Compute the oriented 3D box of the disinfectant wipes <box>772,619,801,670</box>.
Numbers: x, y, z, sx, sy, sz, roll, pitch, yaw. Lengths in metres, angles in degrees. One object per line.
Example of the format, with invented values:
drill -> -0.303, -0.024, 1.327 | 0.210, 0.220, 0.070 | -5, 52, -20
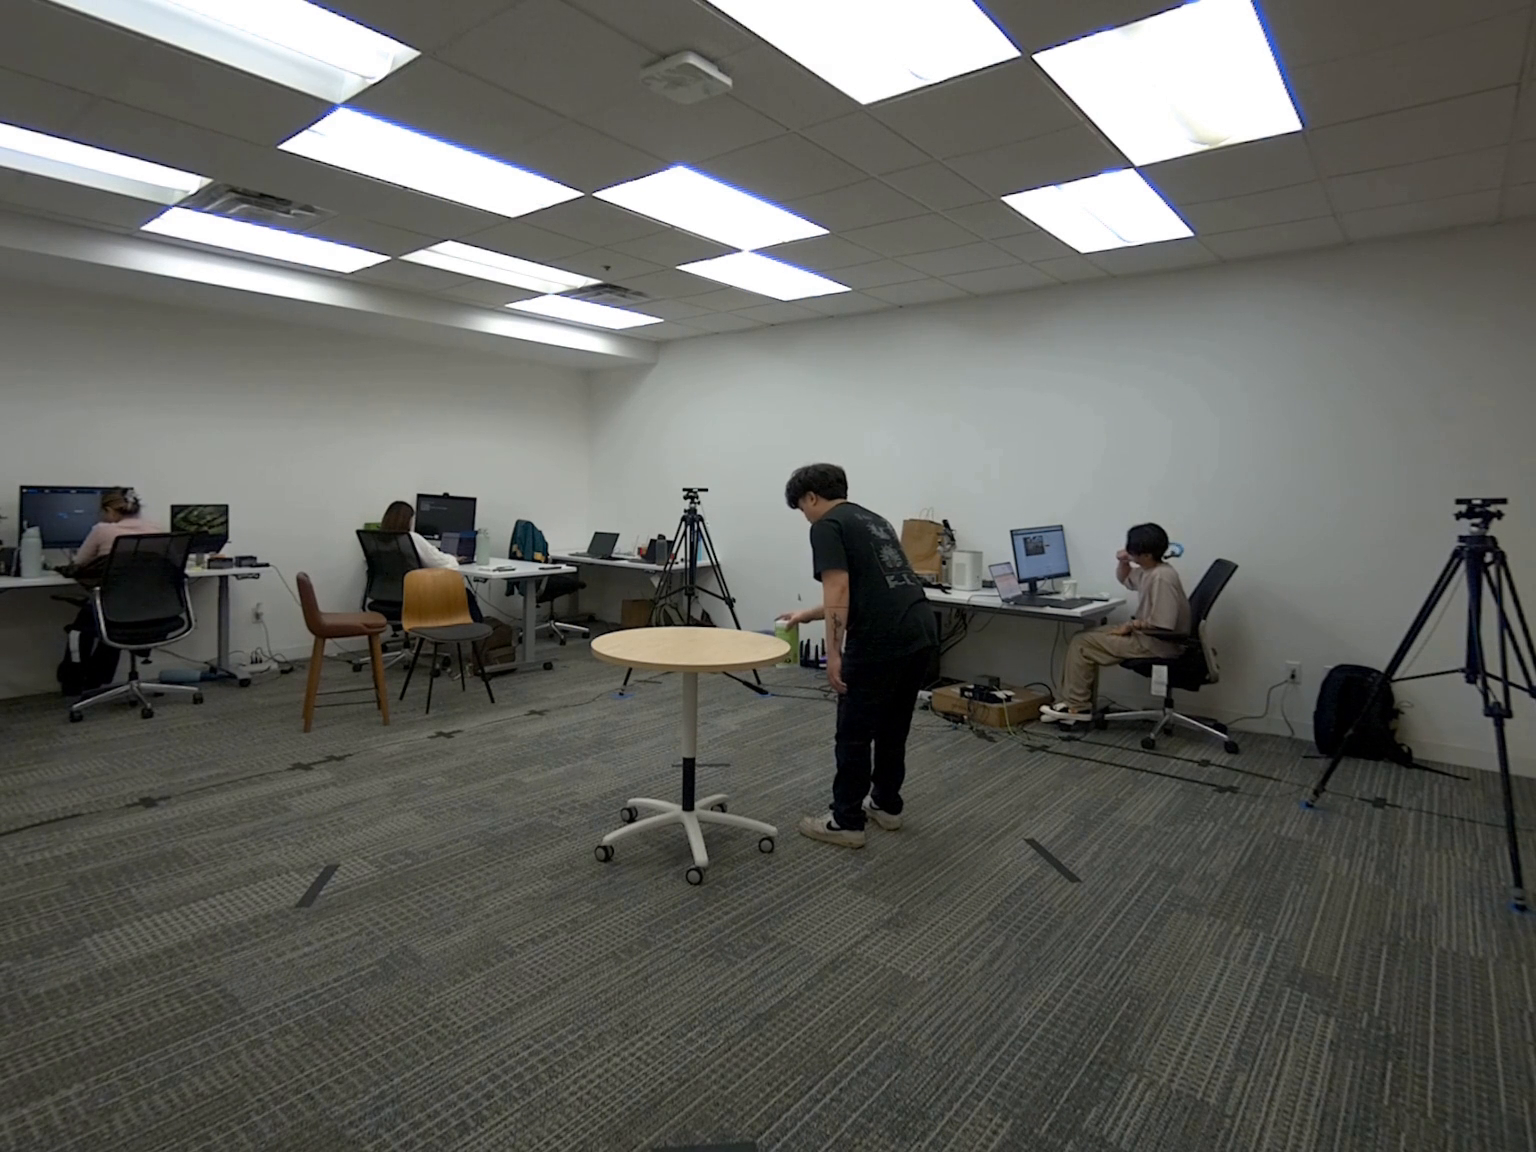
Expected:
disinfectant wipes -> 0.079, 0.309, 3.854 | 0.118, 0.217, 0.118 | 0, 0, -2
